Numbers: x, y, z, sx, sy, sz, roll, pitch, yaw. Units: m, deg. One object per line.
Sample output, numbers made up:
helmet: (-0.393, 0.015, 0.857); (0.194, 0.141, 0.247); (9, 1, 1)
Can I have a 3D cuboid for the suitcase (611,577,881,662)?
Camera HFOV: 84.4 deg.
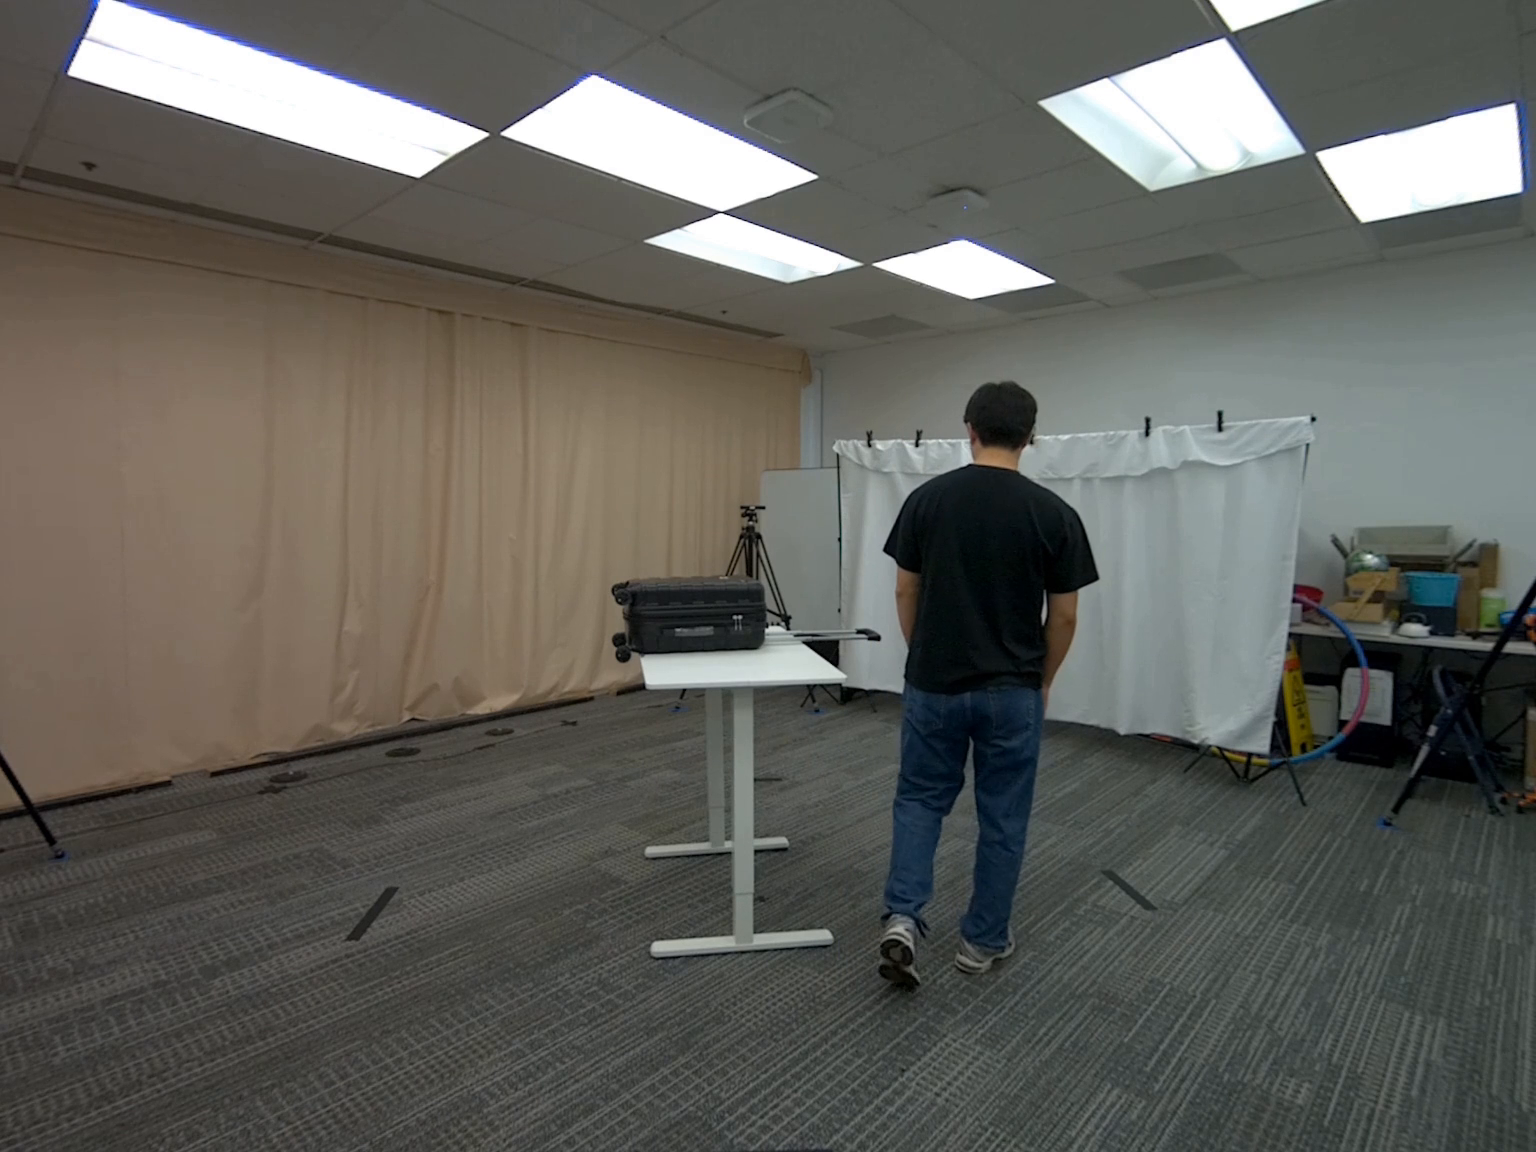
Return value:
suitcase: (-0.084, 0.127, 3.112); (0.968, 0.256, 0.389); (-4, 4, -11)
